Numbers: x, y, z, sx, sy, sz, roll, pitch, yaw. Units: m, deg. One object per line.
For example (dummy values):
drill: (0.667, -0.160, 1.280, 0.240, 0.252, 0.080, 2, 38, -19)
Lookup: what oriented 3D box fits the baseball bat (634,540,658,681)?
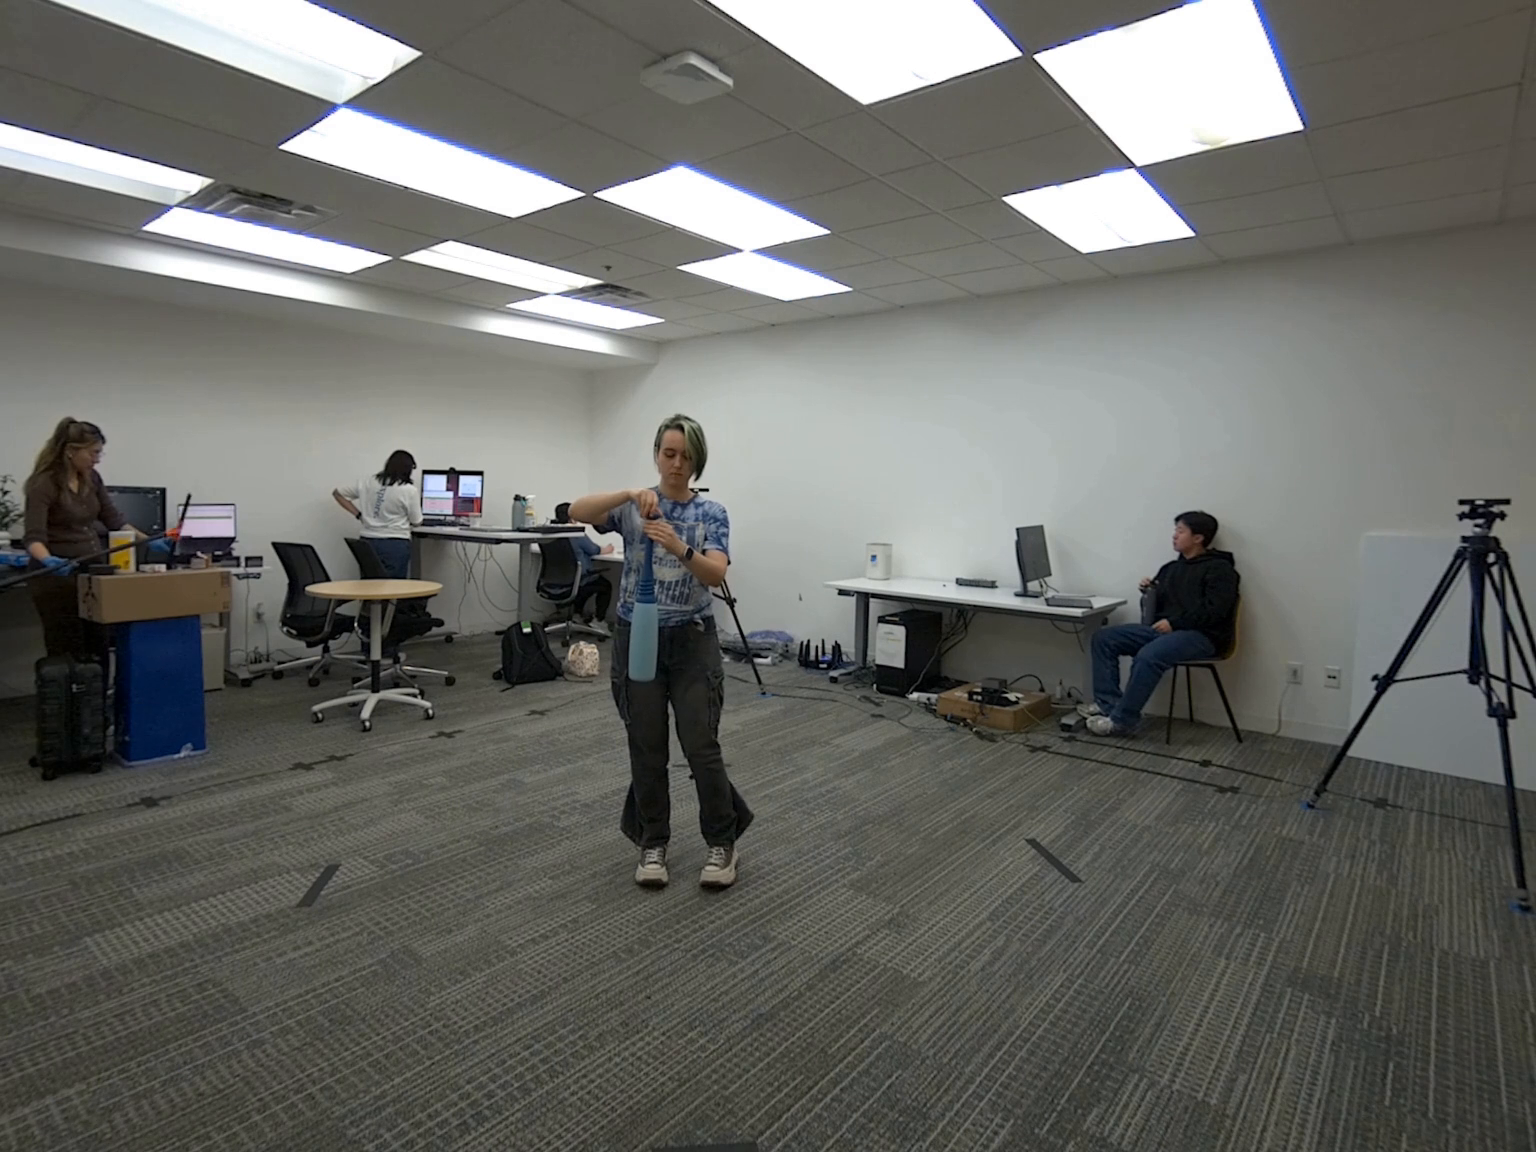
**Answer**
baseball bat: (-0.381, 0.056, 2.726, 0.089, 0.542, 0.089, 1, 1, -2)
